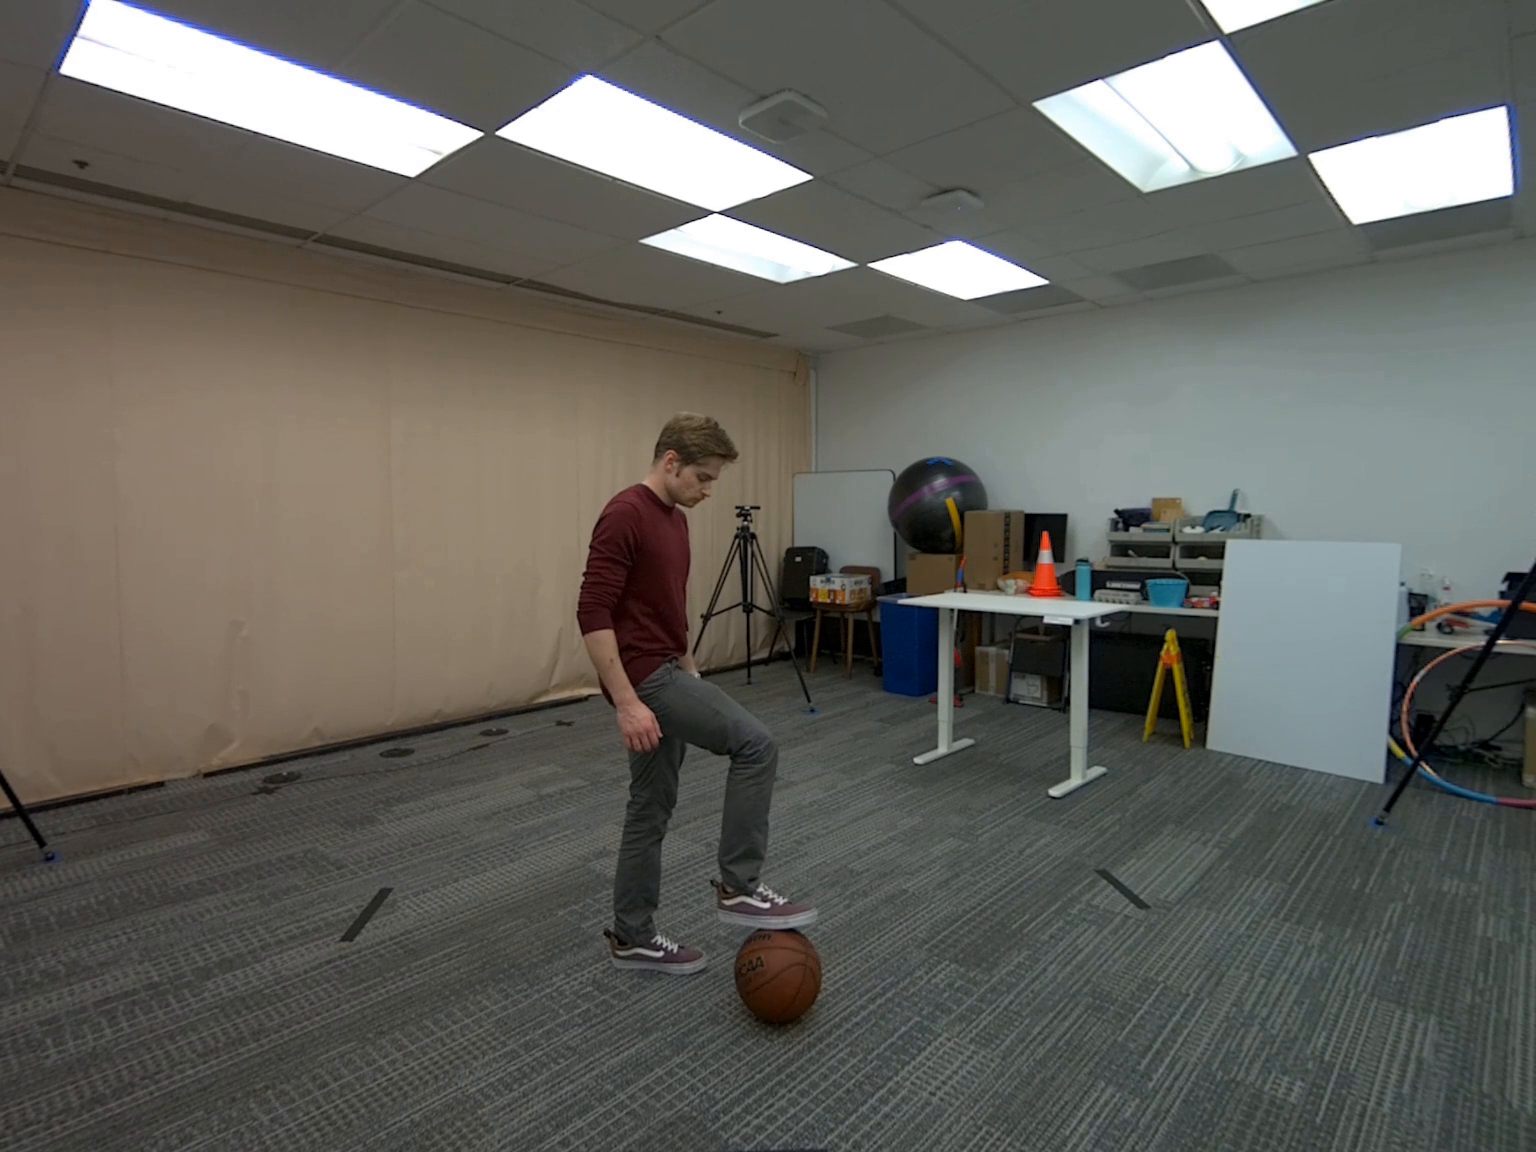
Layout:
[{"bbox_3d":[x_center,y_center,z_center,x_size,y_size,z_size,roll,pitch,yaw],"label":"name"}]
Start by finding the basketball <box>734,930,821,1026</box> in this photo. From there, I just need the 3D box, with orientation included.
[{"bbox_3d":[0.032,1.084,2.295,0.236,0.235,0.237,0,4,-2],"label":"basketball"}]
